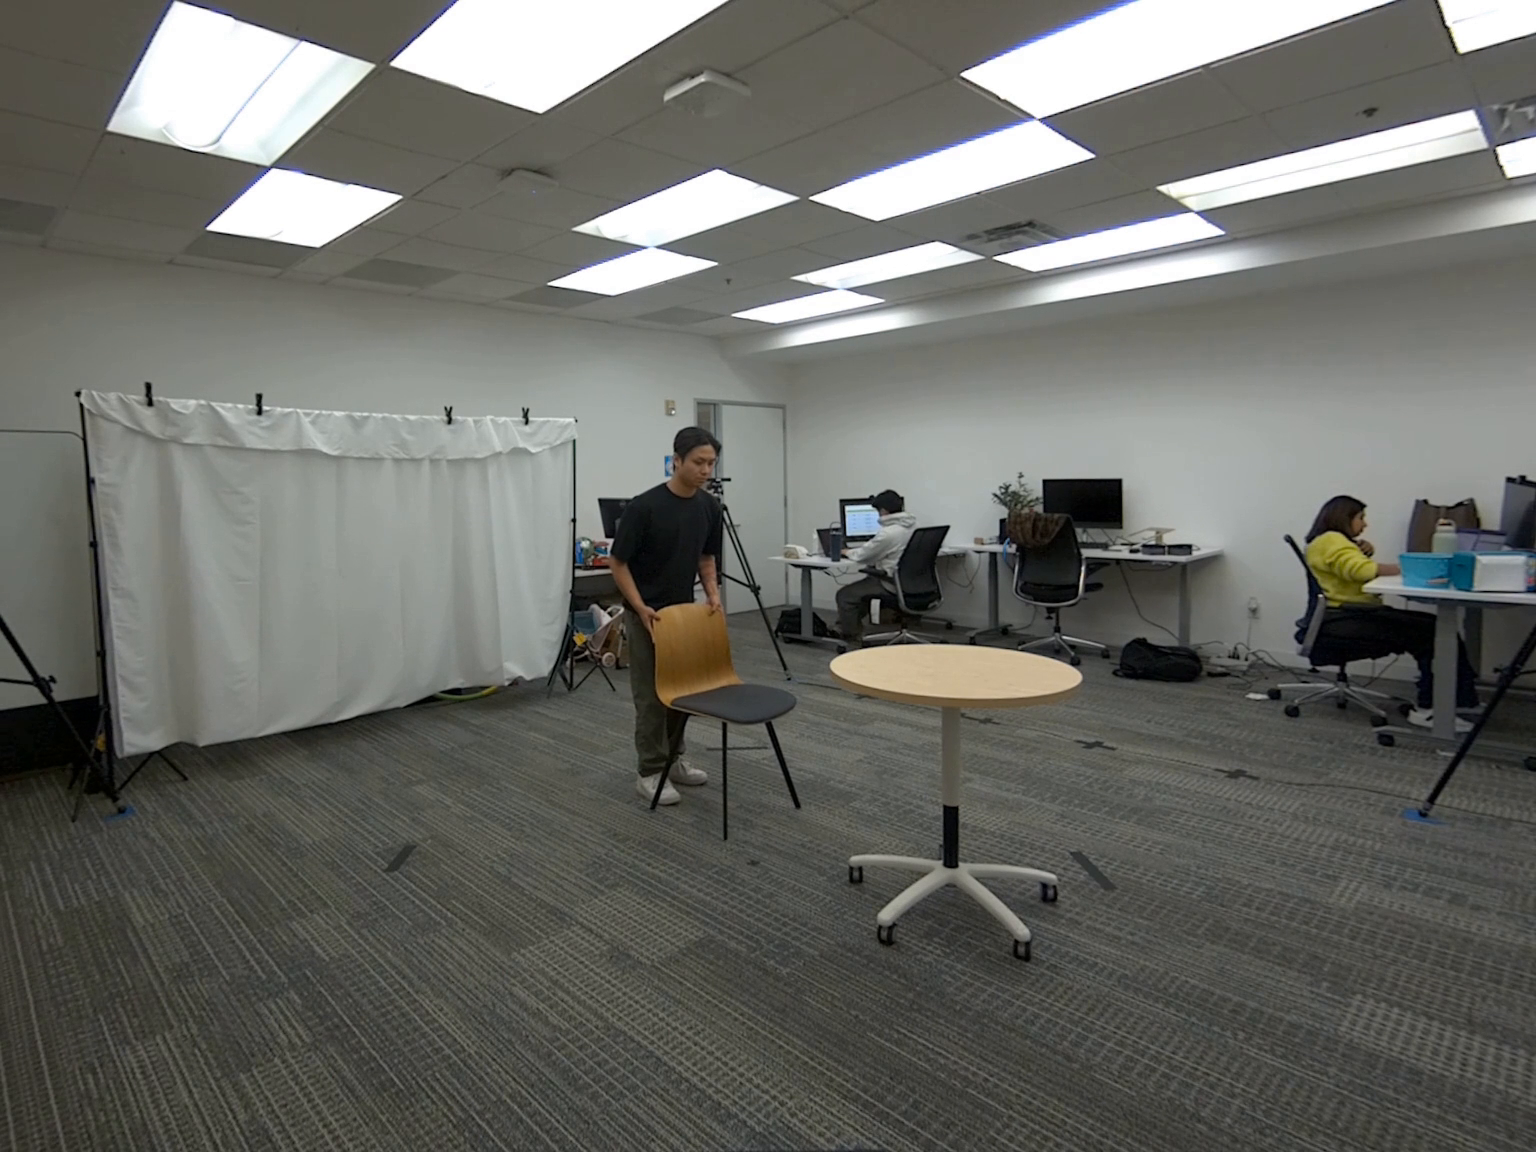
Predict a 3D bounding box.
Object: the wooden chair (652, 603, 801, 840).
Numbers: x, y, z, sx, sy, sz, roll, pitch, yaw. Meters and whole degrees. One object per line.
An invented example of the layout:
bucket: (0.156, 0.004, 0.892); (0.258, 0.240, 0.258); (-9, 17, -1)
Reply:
wooden chair: (-0.177, 0.561, 3.571); (0.537, 0.877, 0.465); (-3, 1, 44)
